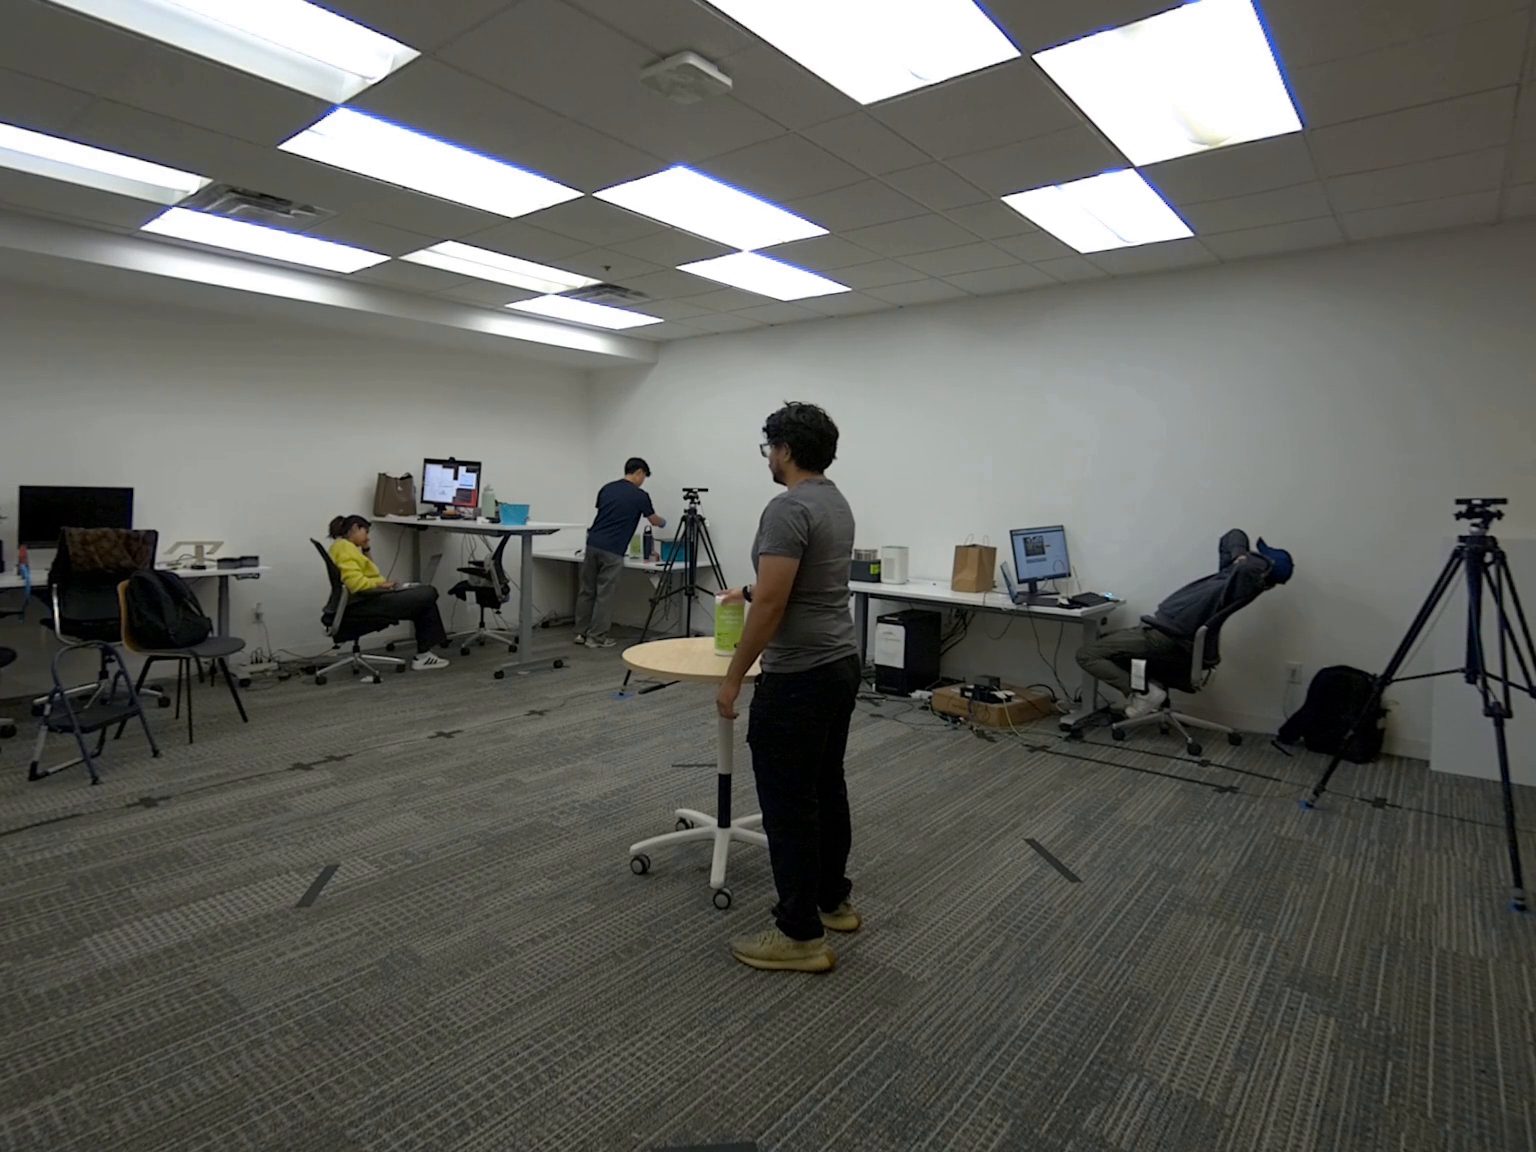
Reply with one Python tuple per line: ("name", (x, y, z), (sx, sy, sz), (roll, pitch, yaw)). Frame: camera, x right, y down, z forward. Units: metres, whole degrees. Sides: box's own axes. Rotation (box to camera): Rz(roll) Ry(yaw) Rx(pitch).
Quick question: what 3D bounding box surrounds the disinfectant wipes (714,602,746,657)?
("disinfectant wipes", (-0.155, 0.180, 3.128), (0.118, 0.217, 0.118), (1, 1, -2))
